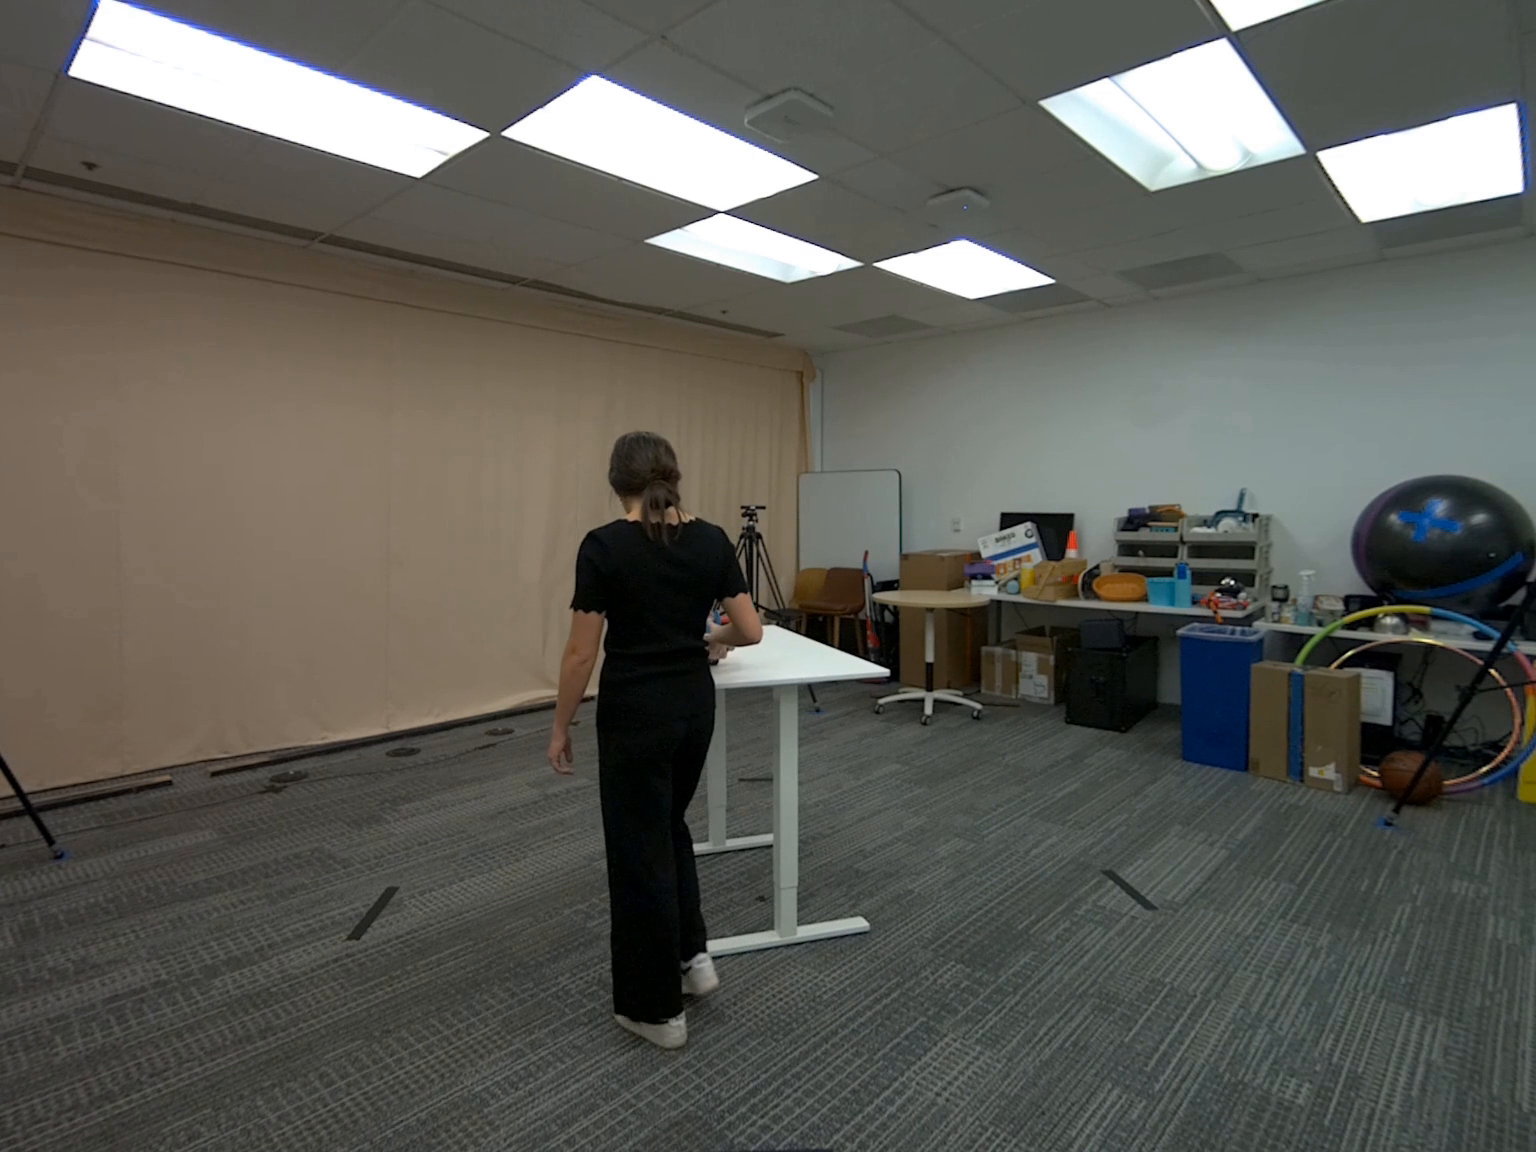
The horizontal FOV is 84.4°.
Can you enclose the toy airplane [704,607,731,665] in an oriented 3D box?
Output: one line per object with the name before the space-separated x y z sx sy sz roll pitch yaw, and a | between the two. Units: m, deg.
toy airplane | -0.178 0.189 2.642 0.265 0.158 0.242 -21 -19 39
